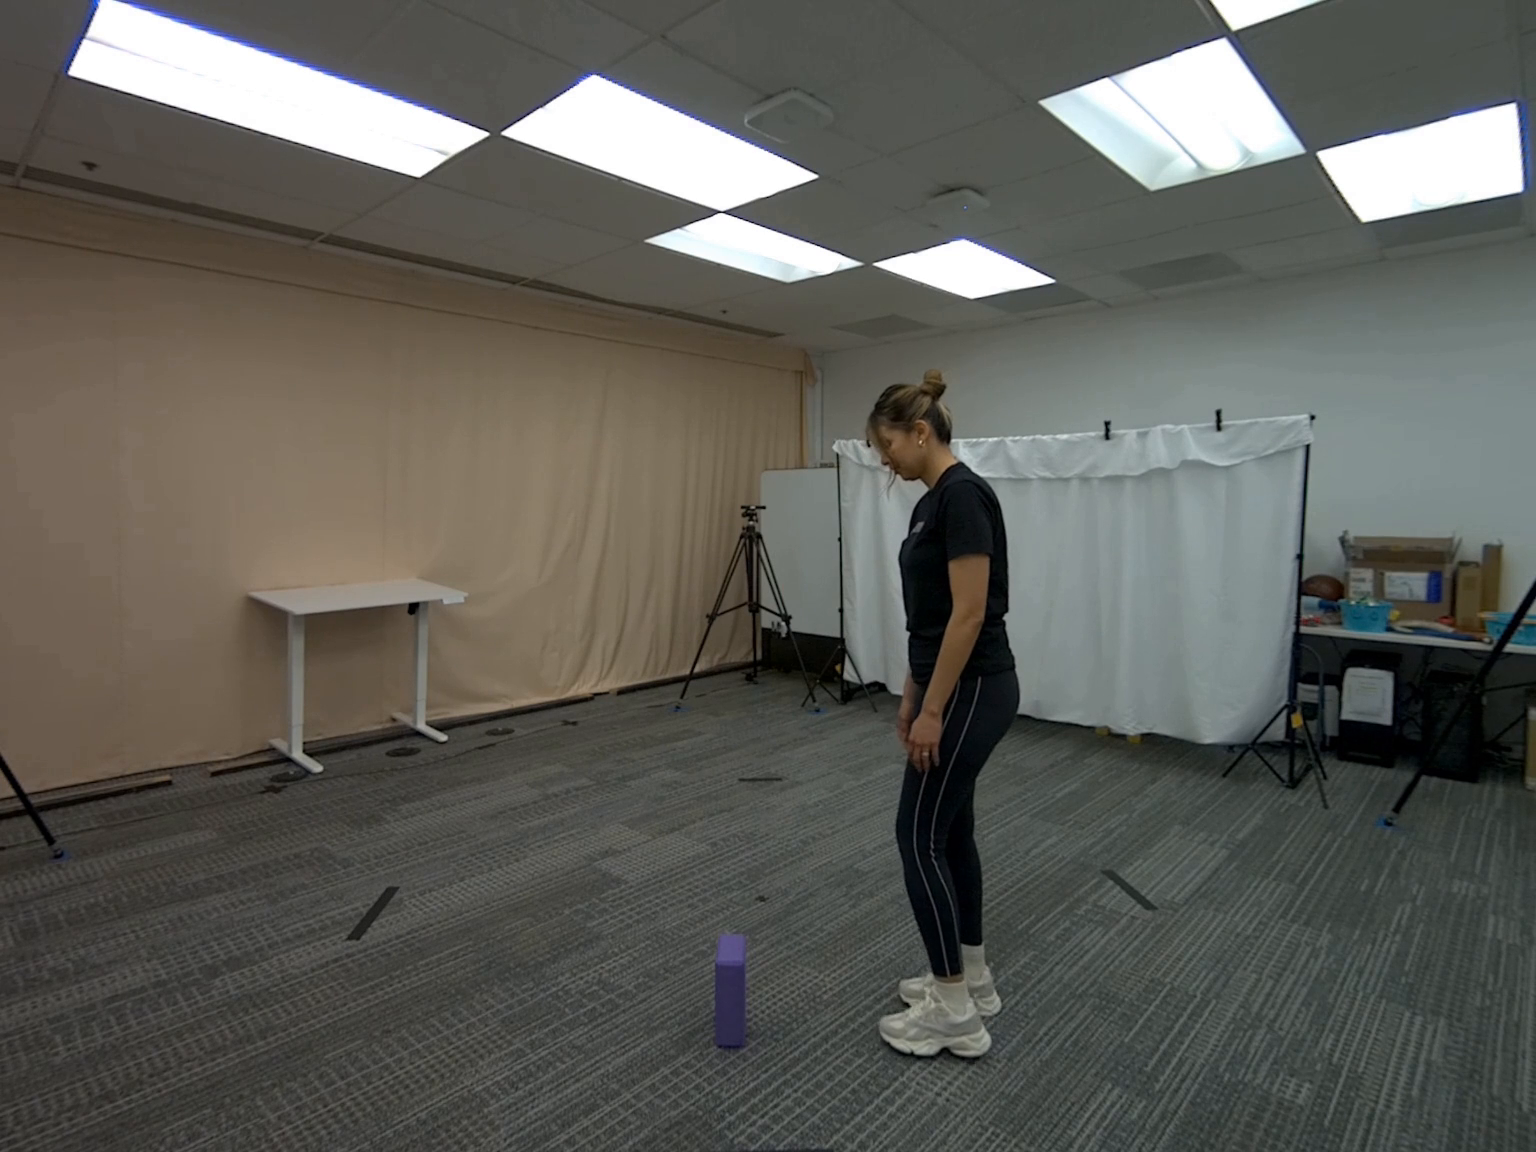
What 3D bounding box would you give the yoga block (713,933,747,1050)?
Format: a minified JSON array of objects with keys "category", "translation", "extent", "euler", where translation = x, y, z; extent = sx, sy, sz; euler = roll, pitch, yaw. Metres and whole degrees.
[{"category":"yoga block","translation":[-0.097,1.096,2.220],"extent":[0.077,0.229,0.148],"euler":[0,3,3]}]
